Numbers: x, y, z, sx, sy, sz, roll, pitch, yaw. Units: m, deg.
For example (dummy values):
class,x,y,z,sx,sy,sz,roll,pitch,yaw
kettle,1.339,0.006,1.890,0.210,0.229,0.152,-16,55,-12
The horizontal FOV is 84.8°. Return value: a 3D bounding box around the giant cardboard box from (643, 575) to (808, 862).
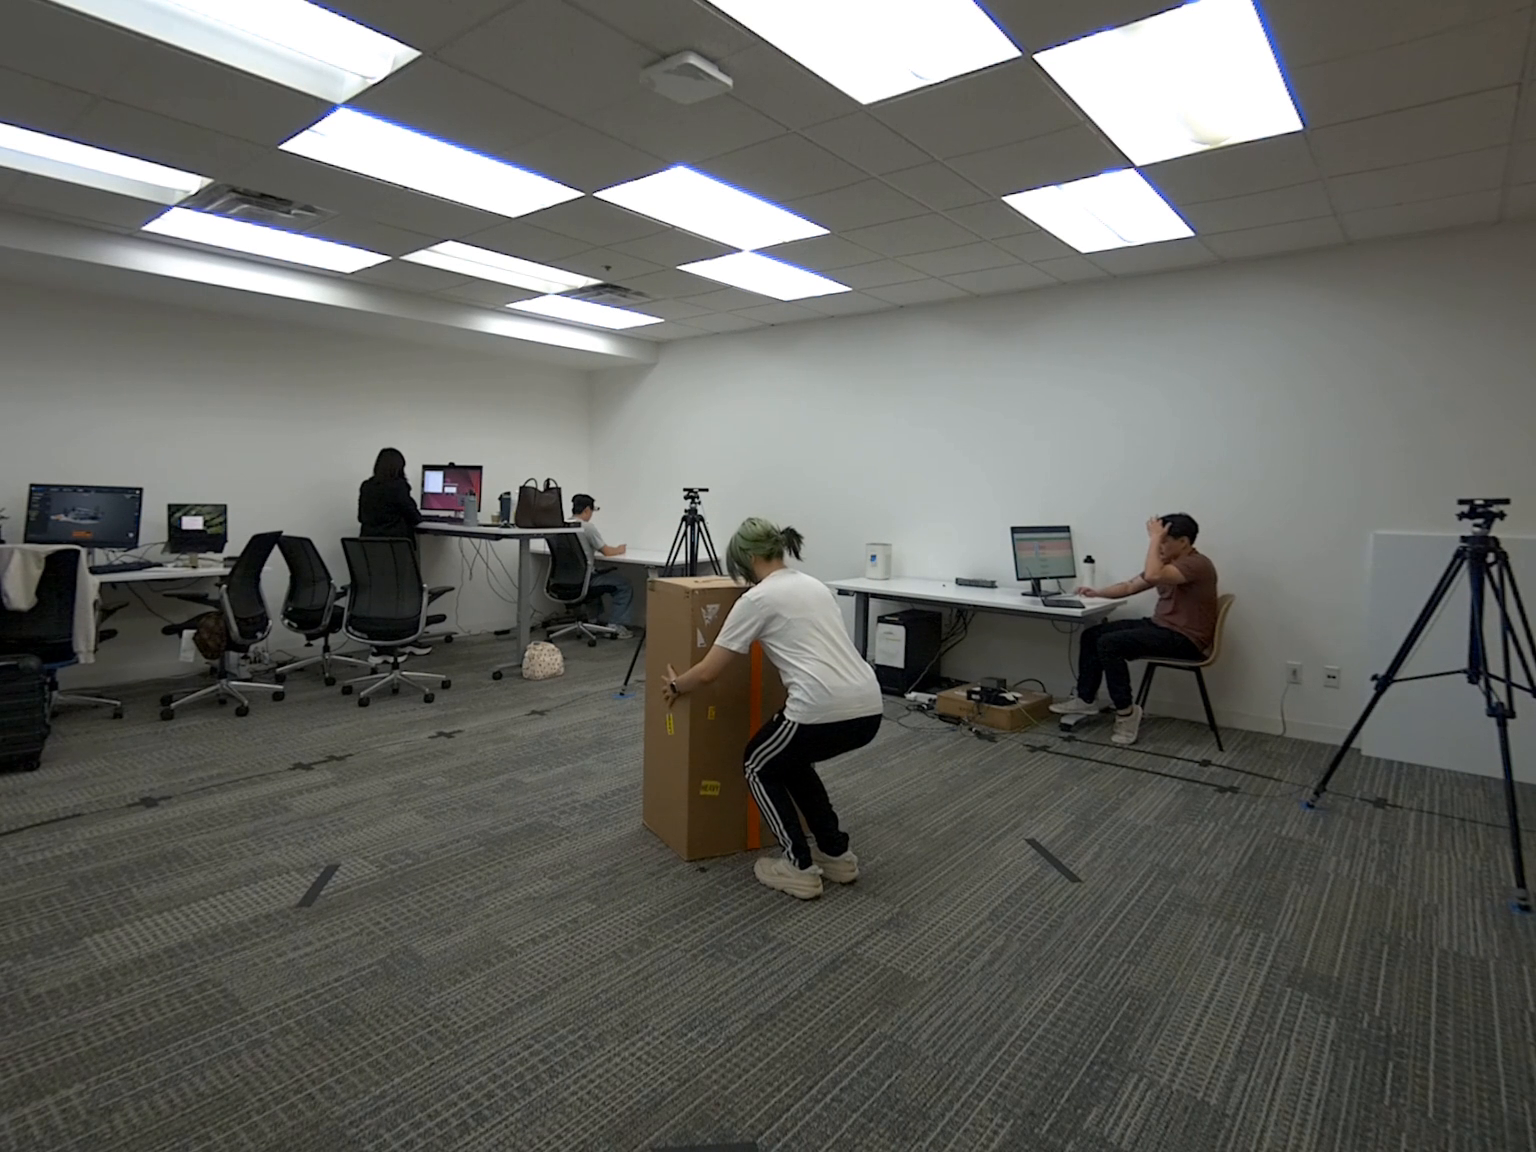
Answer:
class,x,y,z,sx,sy,sz,roll,pitch,yaw
giant cardboard box,-0.169,0.525,3.459,0.562,1.024,0.439,0,3,-30
